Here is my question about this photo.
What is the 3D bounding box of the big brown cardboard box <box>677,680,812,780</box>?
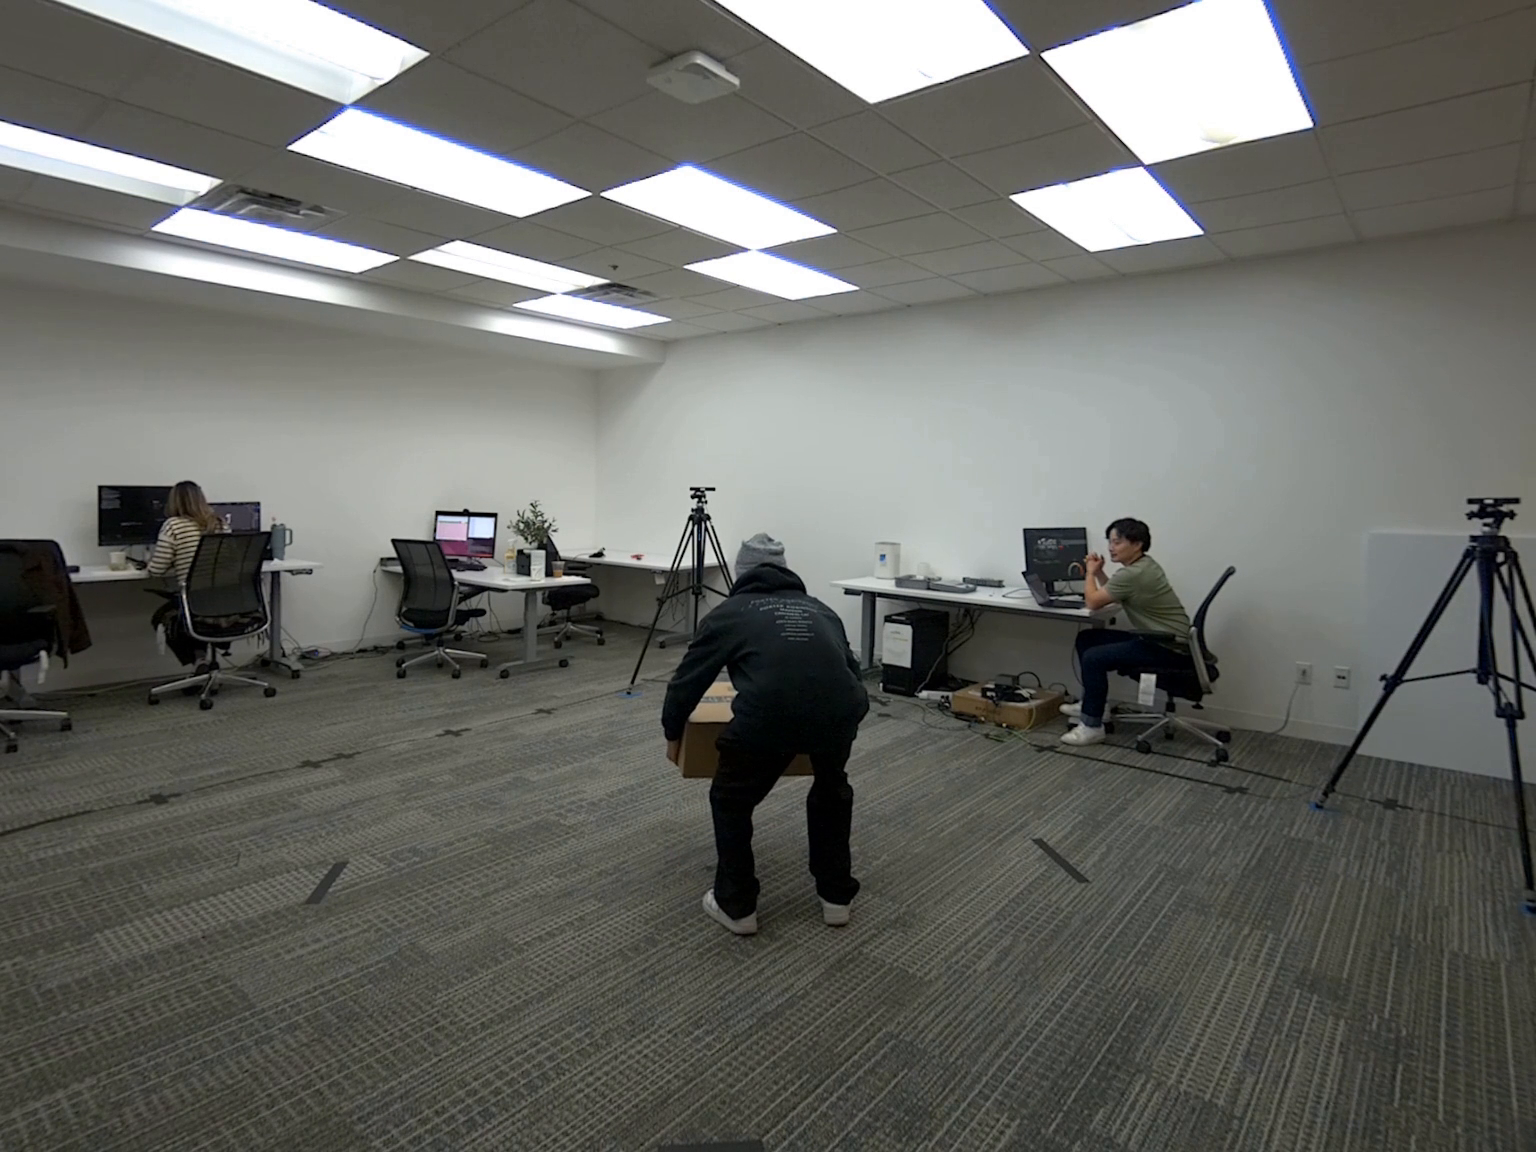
[{"bbox_3d":[-0.081,0.573,3.229,0.582,0.231,0.426,3,12,-11],"label":"big brown cardboard box"}]
